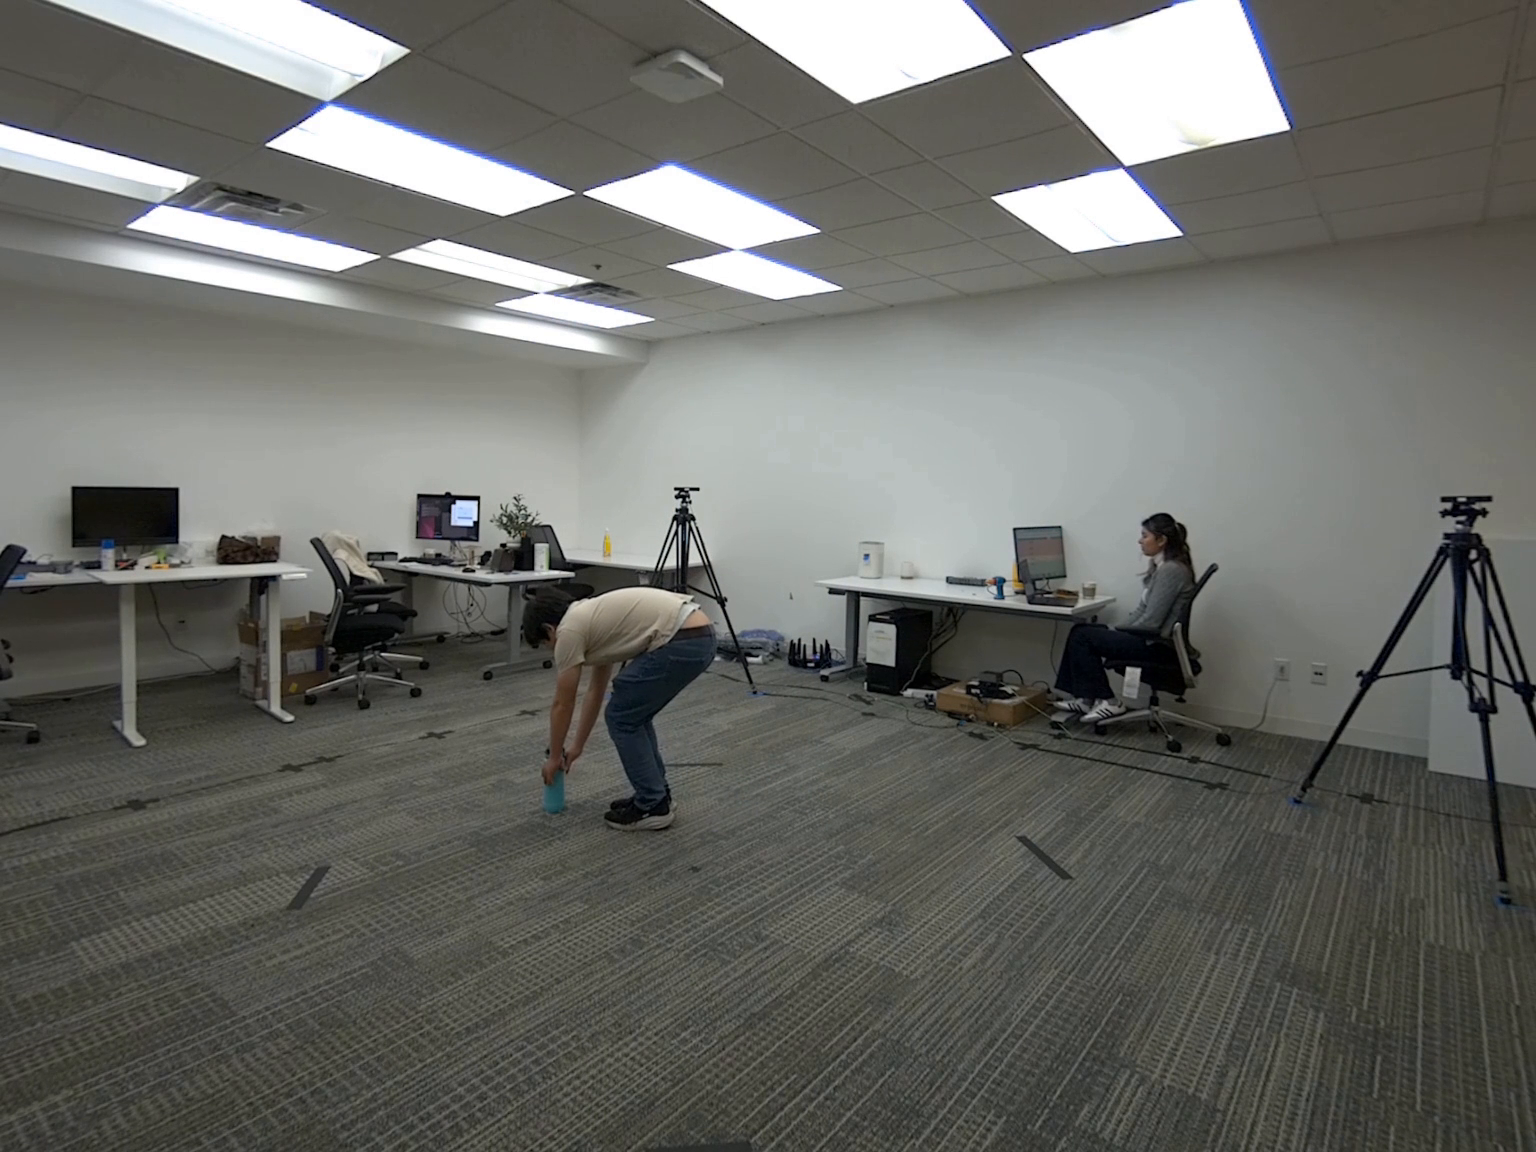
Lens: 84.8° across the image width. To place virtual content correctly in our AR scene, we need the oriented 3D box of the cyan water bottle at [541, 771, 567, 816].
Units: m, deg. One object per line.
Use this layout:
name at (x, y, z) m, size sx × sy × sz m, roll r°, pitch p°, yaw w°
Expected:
cyan water bottle at (-0.932, 0.859, 3.675) m, size 0.092 × 0.282 × 0.093 m, roll 2°, pitch 4°, yaw -2°
